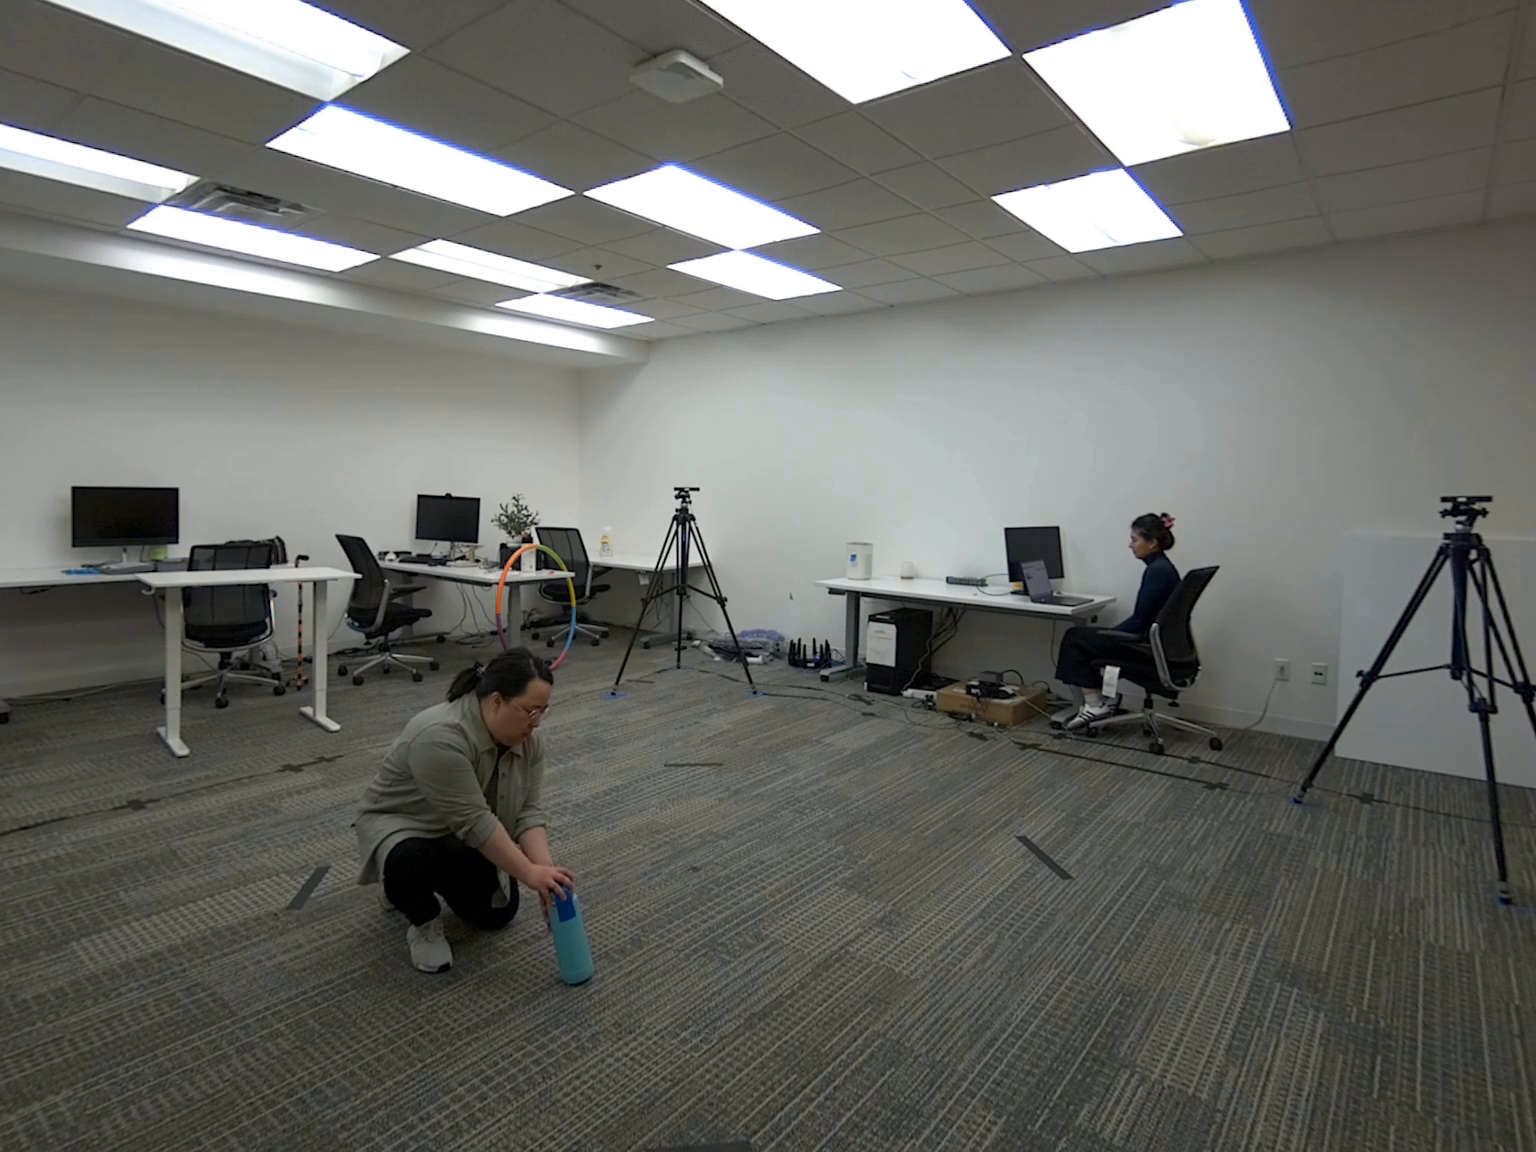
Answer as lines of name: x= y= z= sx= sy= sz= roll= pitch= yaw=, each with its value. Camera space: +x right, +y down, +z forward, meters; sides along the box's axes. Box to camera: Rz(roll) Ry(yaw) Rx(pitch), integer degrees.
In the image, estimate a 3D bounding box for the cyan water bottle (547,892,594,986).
cyan water bottle: x=-0.574 y=0.992 z=2.388 sx=0.092 sy=0.282 sz=0.093 roll=-13 pitch=3 yaw=-1
